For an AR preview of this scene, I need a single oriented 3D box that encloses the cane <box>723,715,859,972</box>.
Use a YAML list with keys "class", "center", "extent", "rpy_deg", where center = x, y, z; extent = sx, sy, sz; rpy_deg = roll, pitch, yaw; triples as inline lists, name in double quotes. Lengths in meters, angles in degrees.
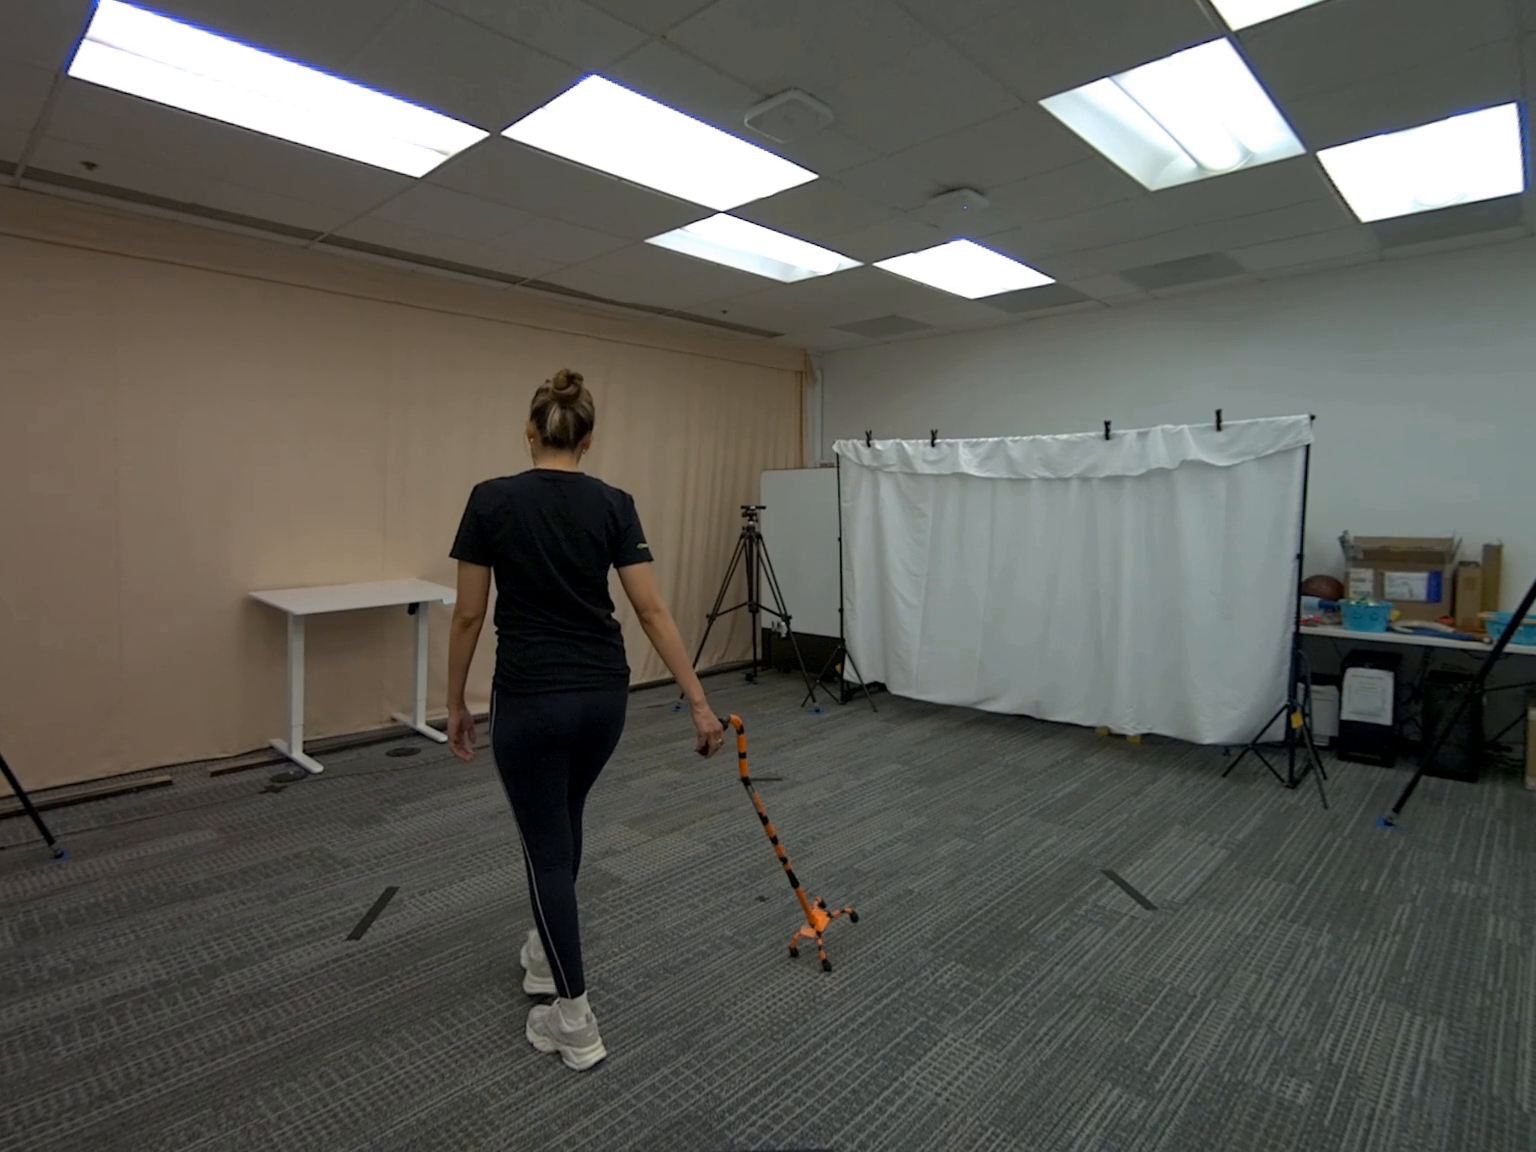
- class: "cane"
  center: [0.034, 0.759, 2.425]
  extent: [0.157, 0.887, 0.204]
  rpy_deg: [4, 36, 41]
